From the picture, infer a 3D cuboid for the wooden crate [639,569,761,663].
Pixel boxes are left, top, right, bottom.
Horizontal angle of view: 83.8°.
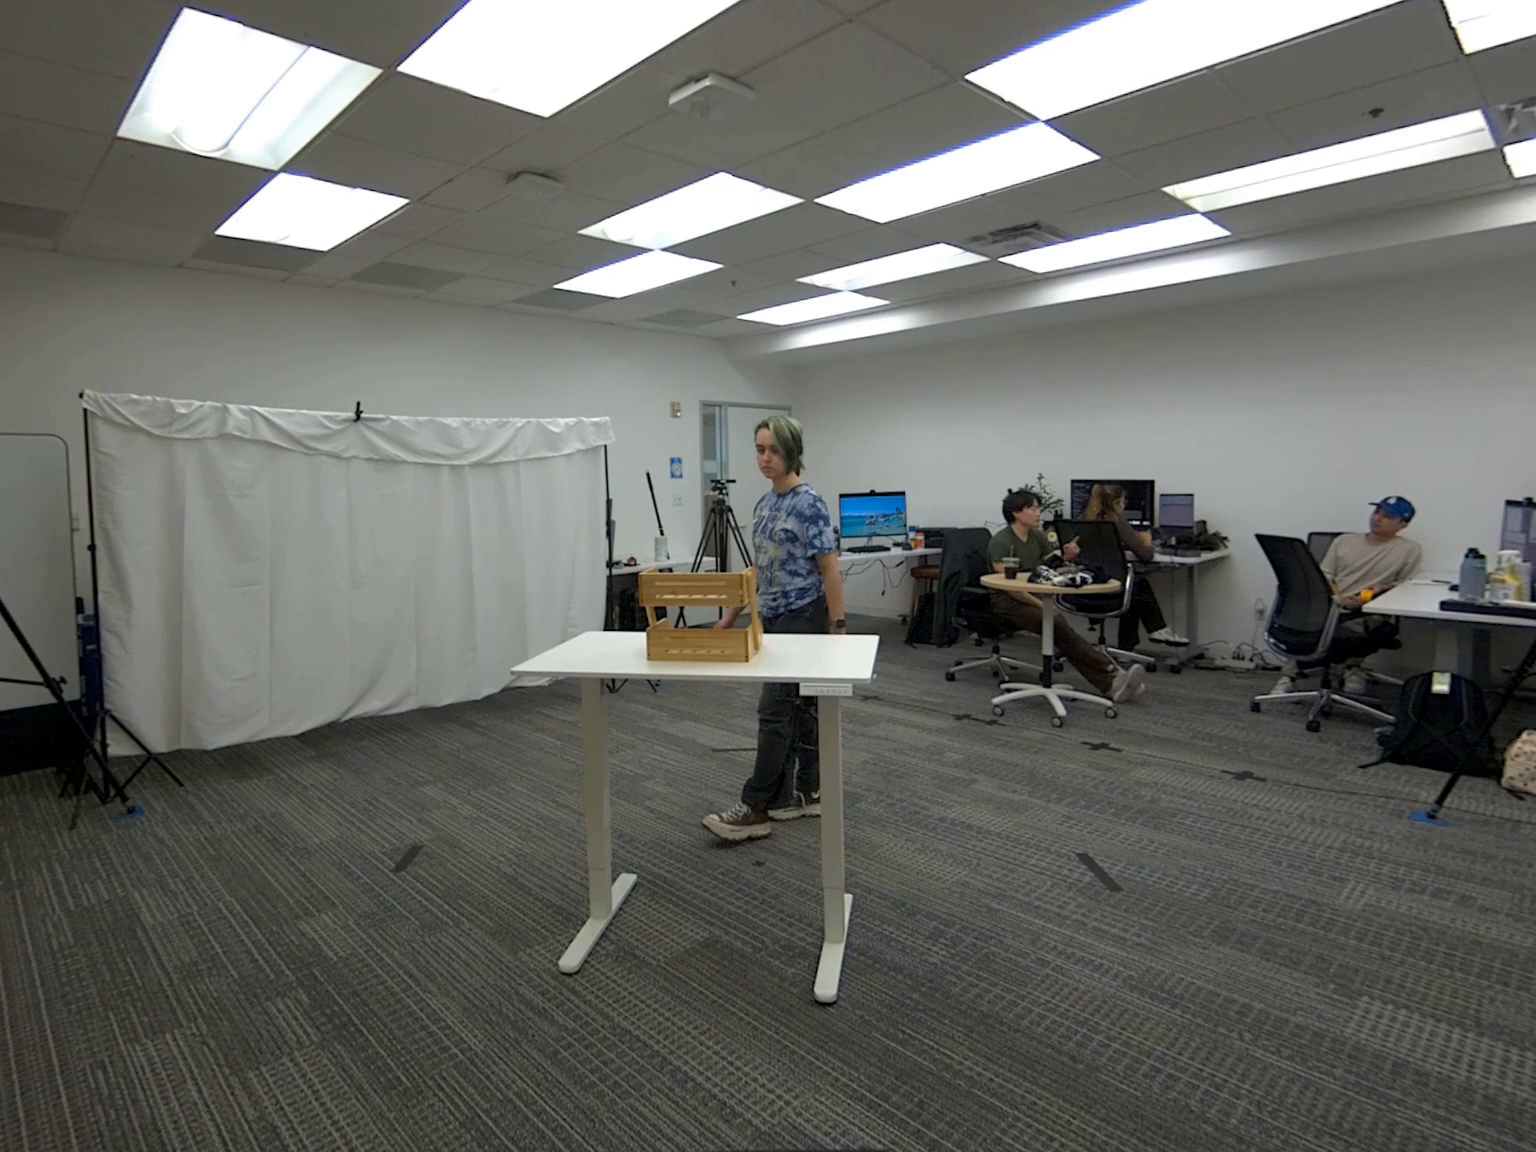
[{"bbox_3d":[-0.188,0.101,2.532,0.328,0.272,0.301,-1,7,11],"label":"wooden crate"}]
